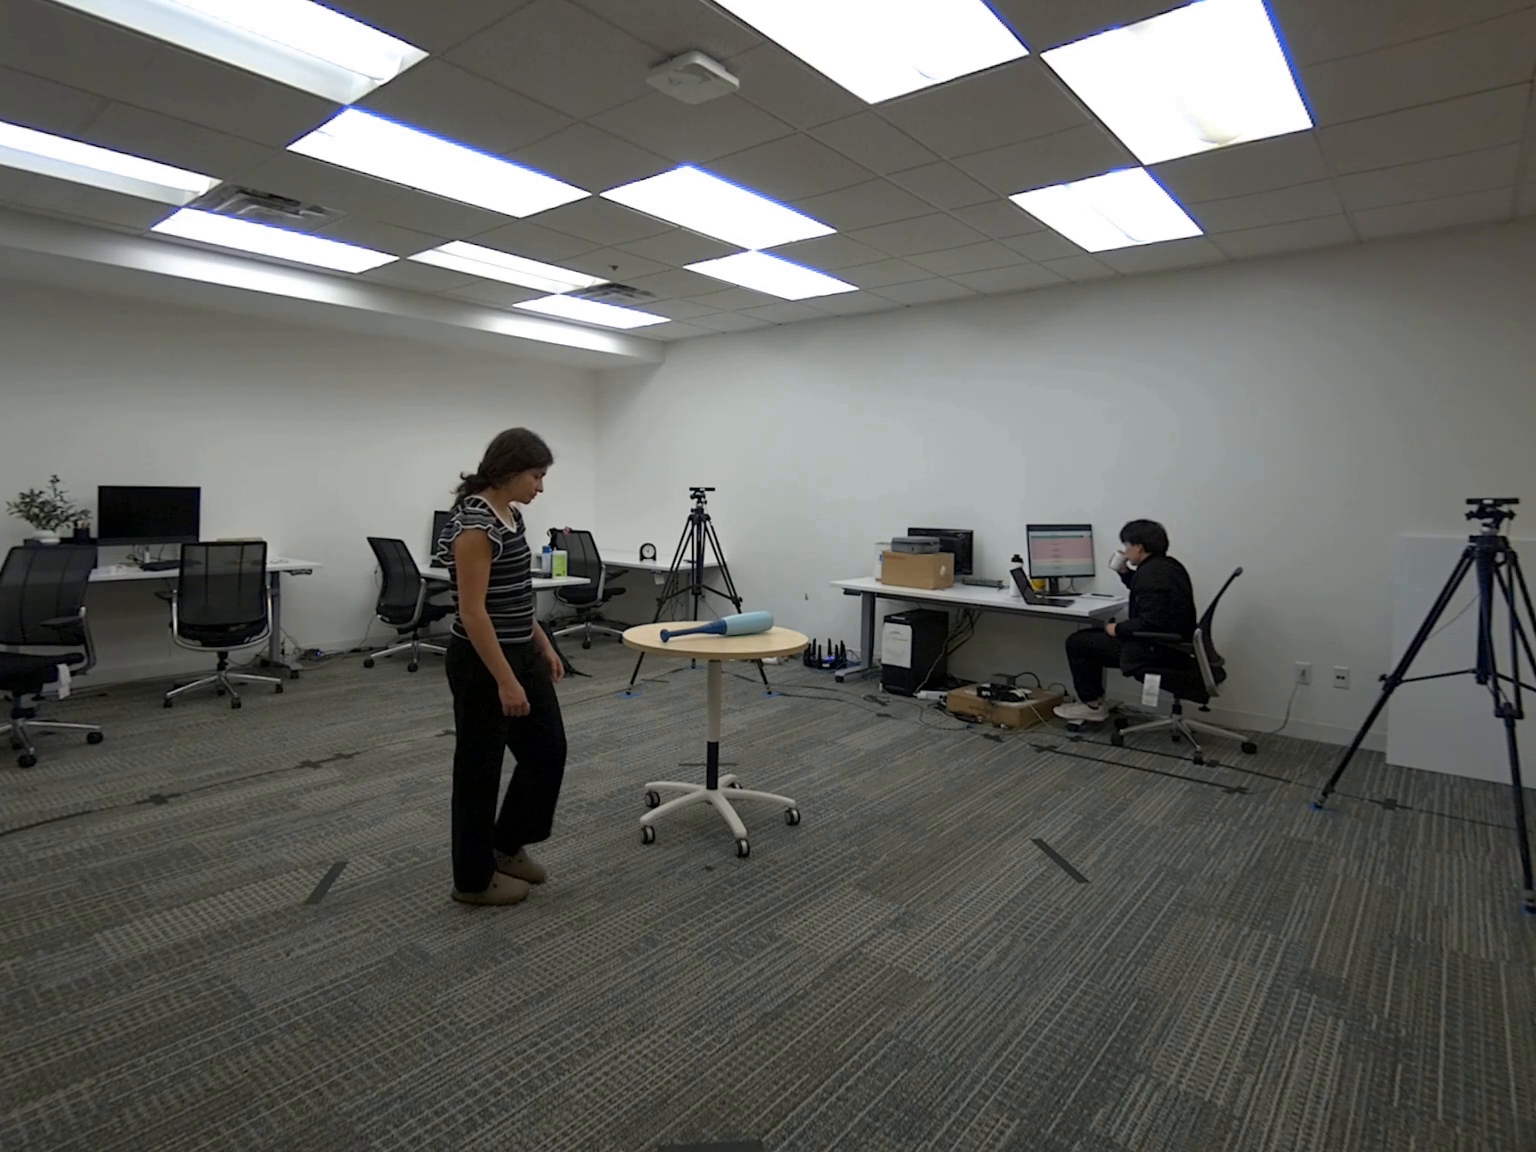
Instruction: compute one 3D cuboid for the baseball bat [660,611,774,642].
[{"bbox_3d":[-0.218,0.210,3.482,0.528,0.088,0.092,-5,7,-36],"label":"baseball bat"}]
